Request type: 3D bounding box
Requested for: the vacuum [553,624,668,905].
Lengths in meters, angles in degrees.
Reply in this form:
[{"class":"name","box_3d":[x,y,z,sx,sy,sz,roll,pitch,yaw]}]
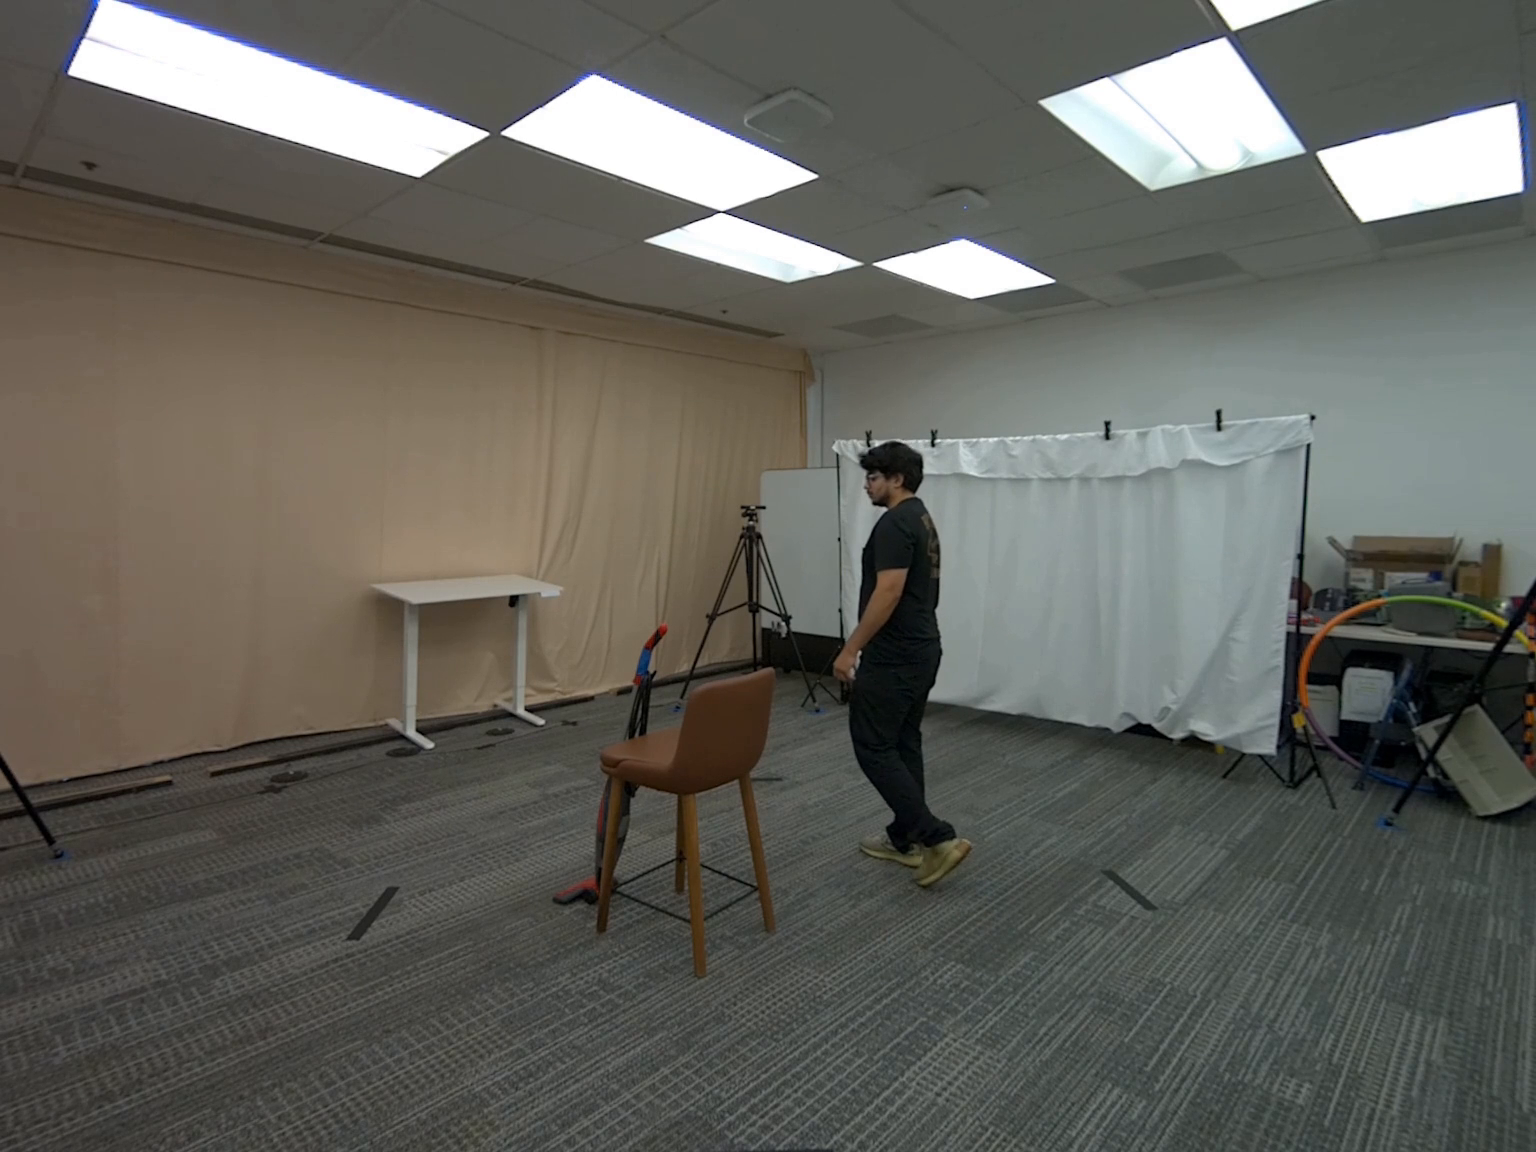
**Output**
[{"class":"vacuum","box_3d":[-0.496,0.660,2.912,0.148,1.045,0.246,24,15,25]}]
